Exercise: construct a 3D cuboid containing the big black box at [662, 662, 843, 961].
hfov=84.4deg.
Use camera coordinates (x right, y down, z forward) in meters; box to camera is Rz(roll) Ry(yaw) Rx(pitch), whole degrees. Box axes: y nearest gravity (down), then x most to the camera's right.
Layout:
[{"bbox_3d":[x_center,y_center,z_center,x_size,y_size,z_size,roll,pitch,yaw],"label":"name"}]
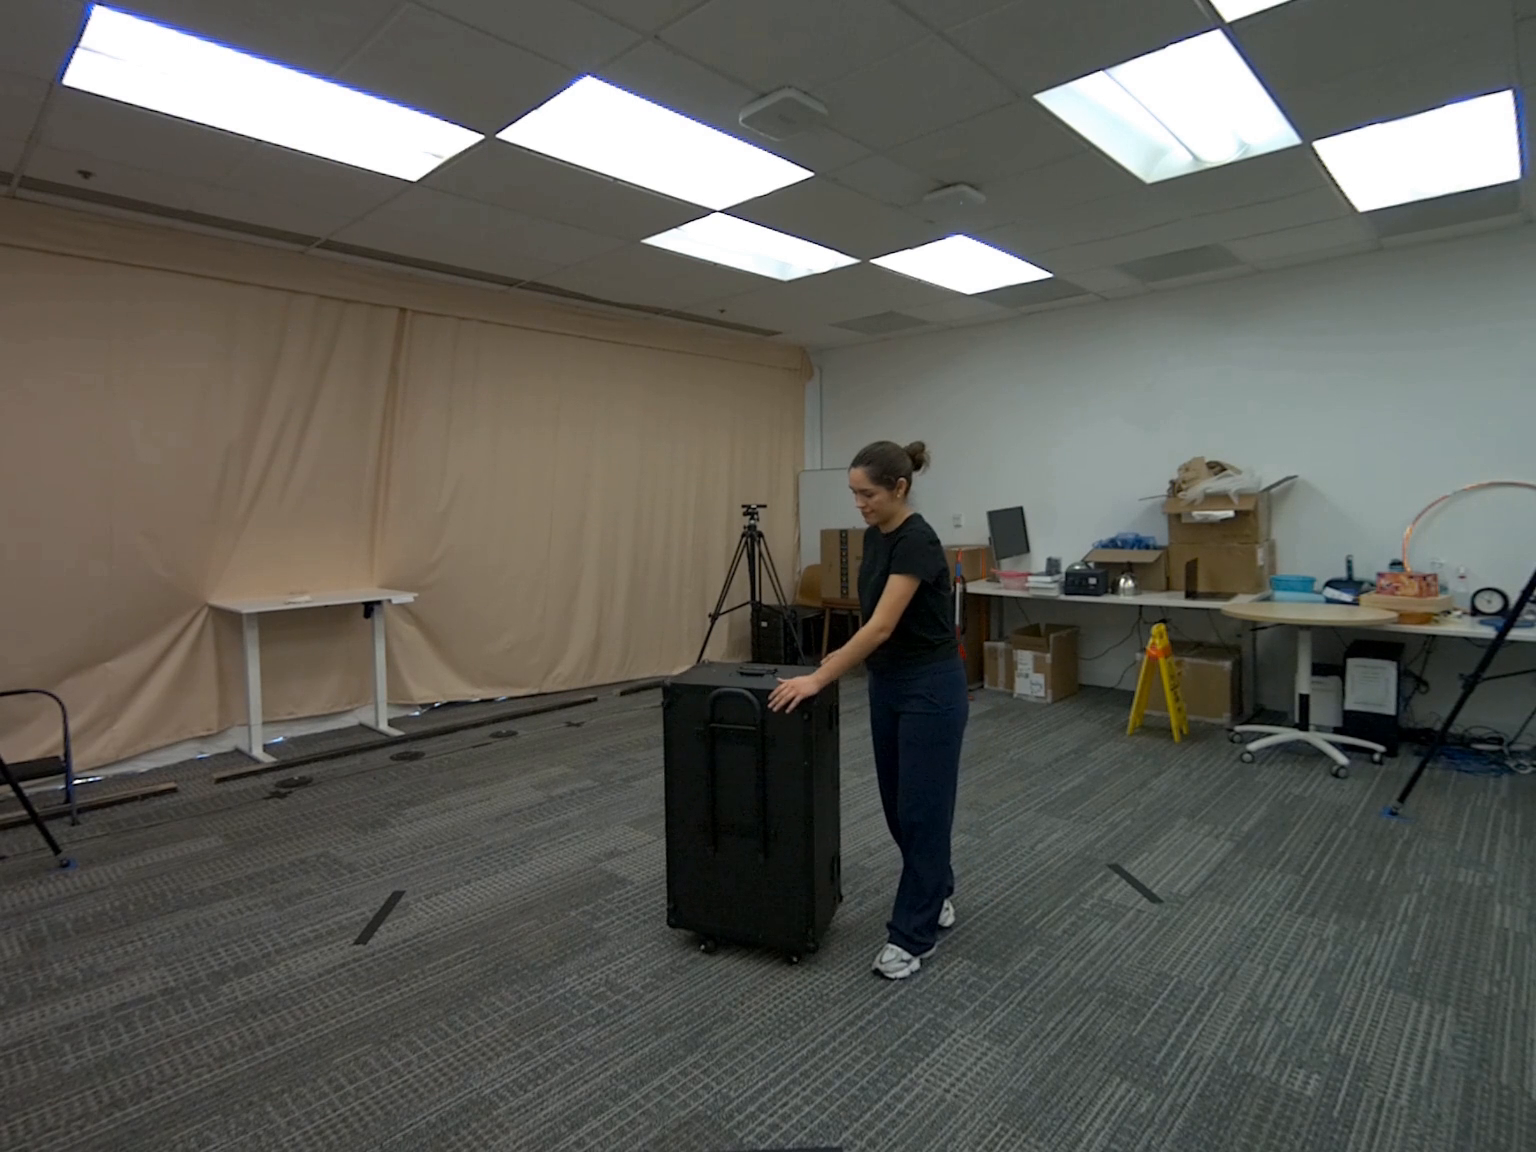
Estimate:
[{"bbox_3d":[-0.025,0.745,2.696,0.532,0.859,0.389,1,4,19],"label":"big black box"}]
